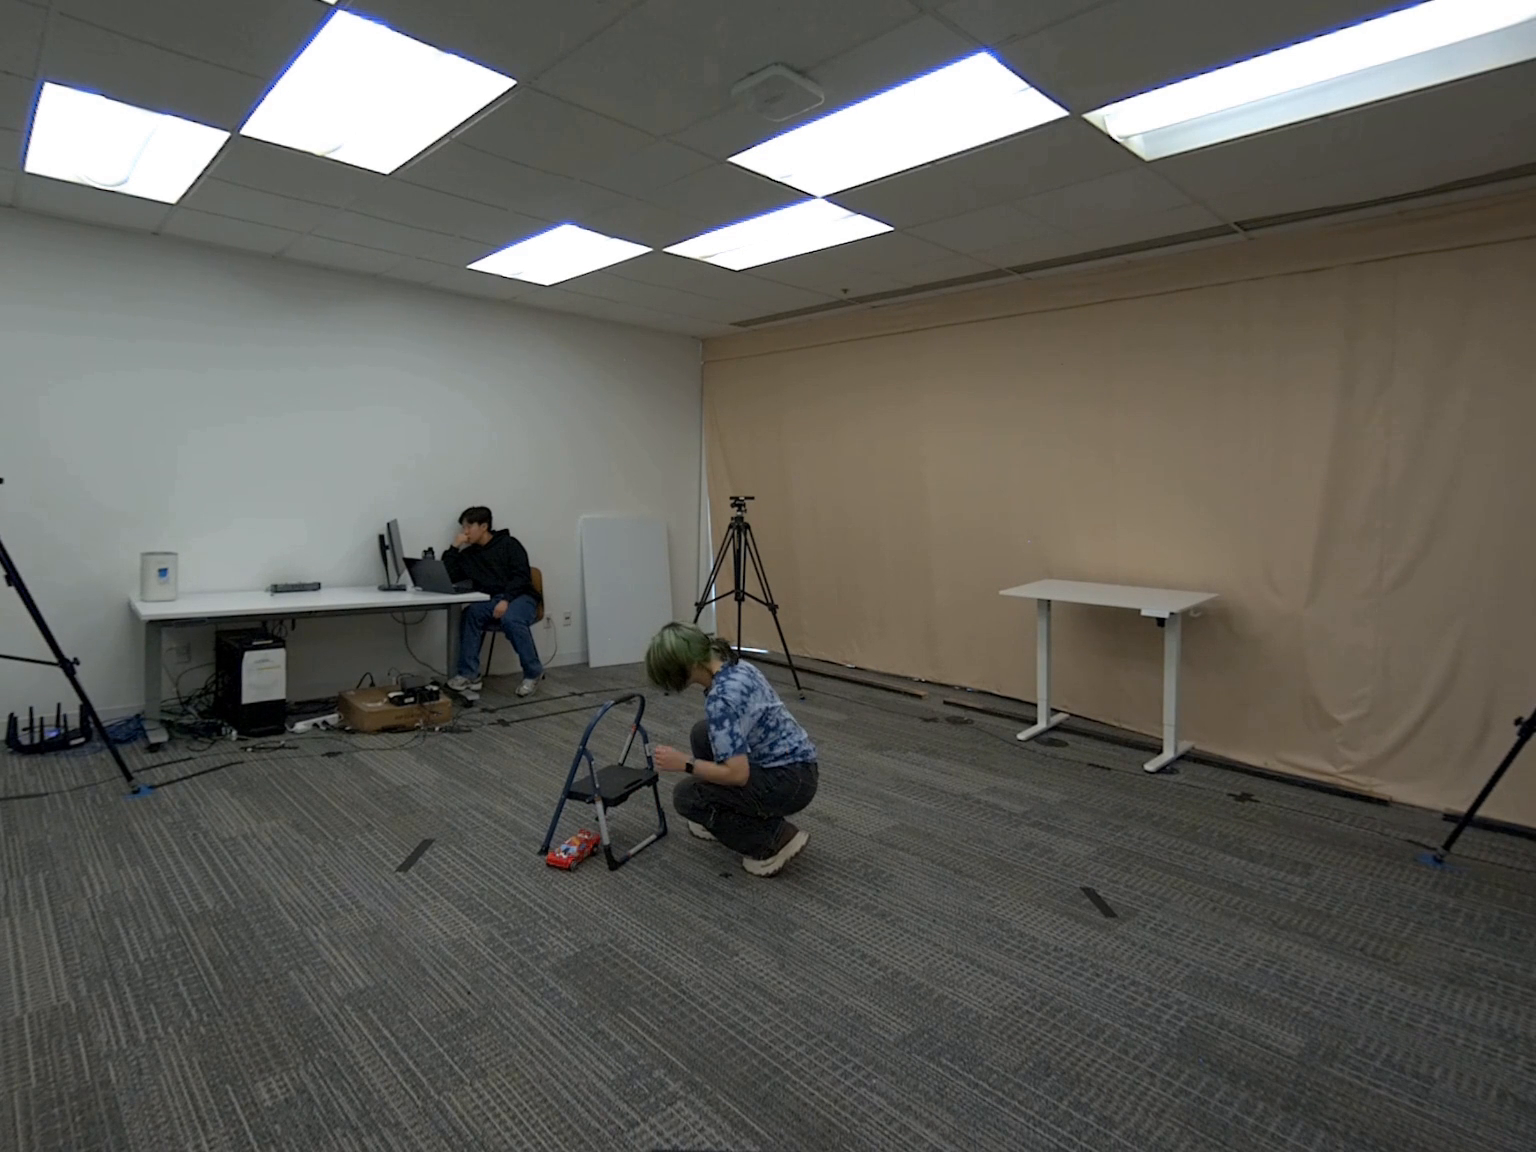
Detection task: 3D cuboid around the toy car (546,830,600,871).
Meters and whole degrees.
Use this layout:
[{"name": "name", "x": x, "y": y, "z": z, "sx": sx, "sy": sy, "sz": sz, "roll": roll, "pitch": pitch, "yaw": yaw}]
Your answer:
[{"name": "toy car", "x": -0.739, "y": 1.044, "z": 3.217, "sx": 0.133, "sy": 0.082, "sz": 0.252, "roll": 3, "pitch": 15, "yaw": 23}]
